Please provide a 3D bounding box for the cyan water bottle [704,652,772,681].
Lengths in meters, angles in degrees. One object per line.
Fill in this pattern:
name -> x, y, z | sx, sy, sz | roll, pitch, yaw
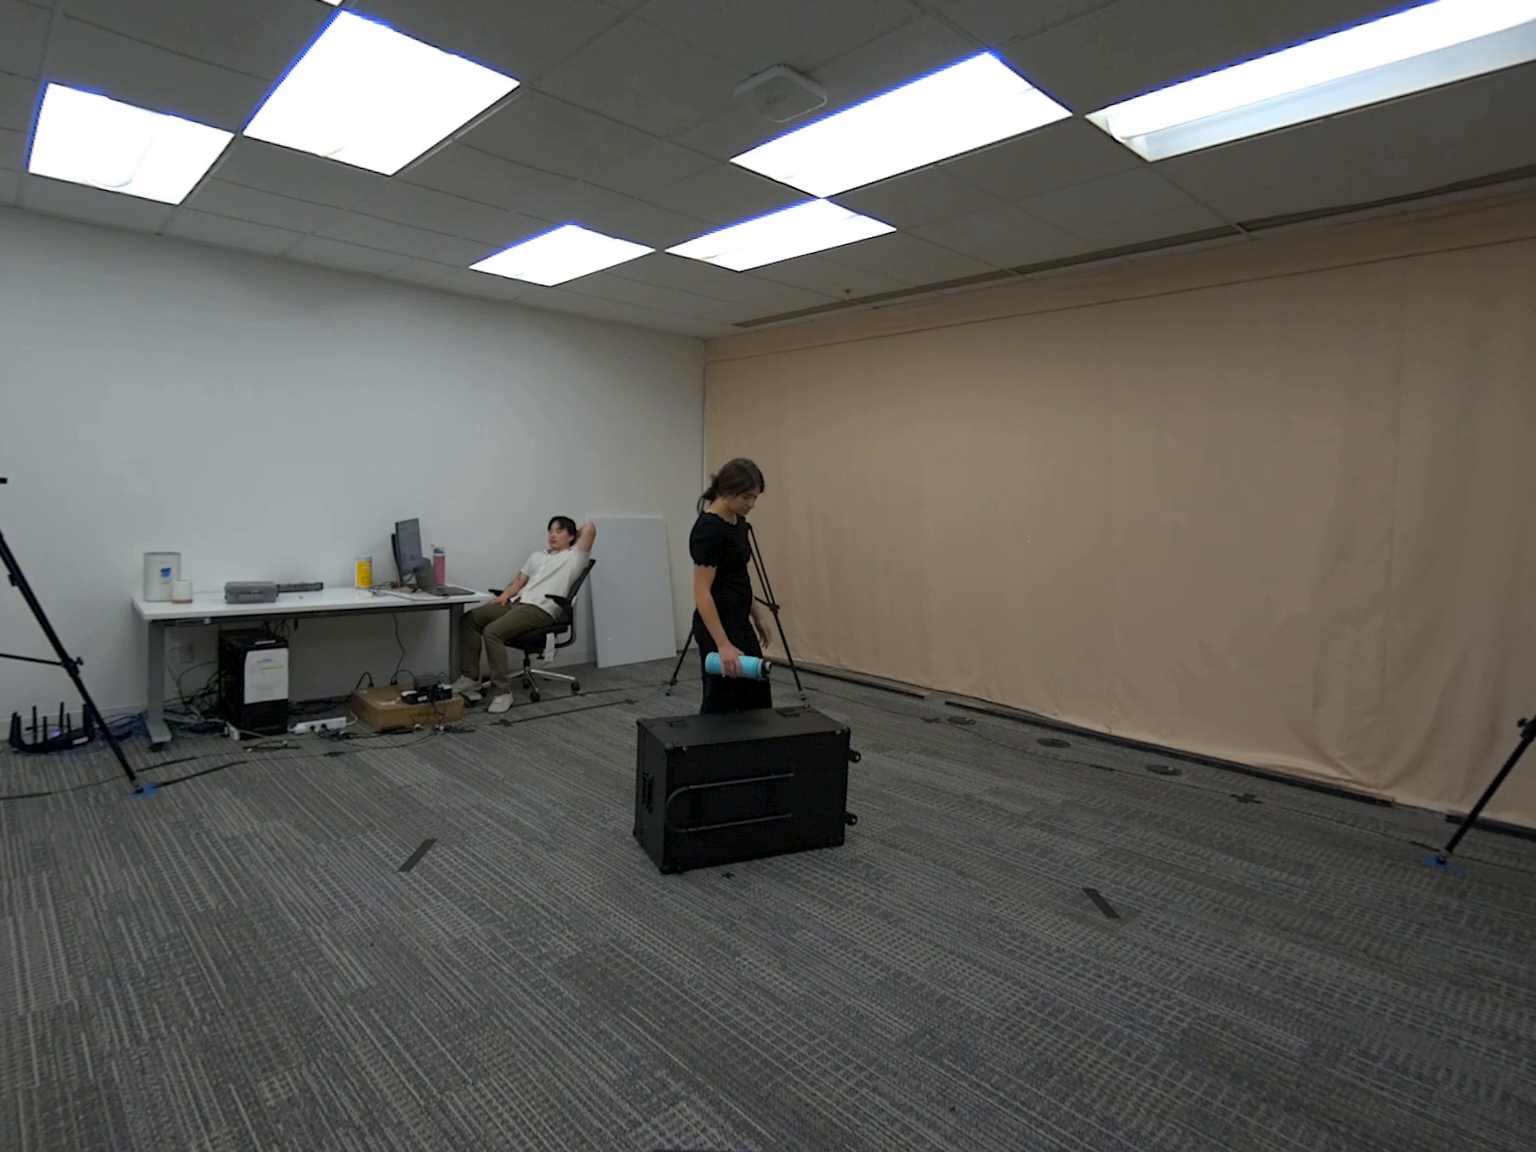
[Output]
cyan water bottle -> -0.138, 0.384, 3.557 | 0.288, 0.092, 0.091 | 5, 5, 20
